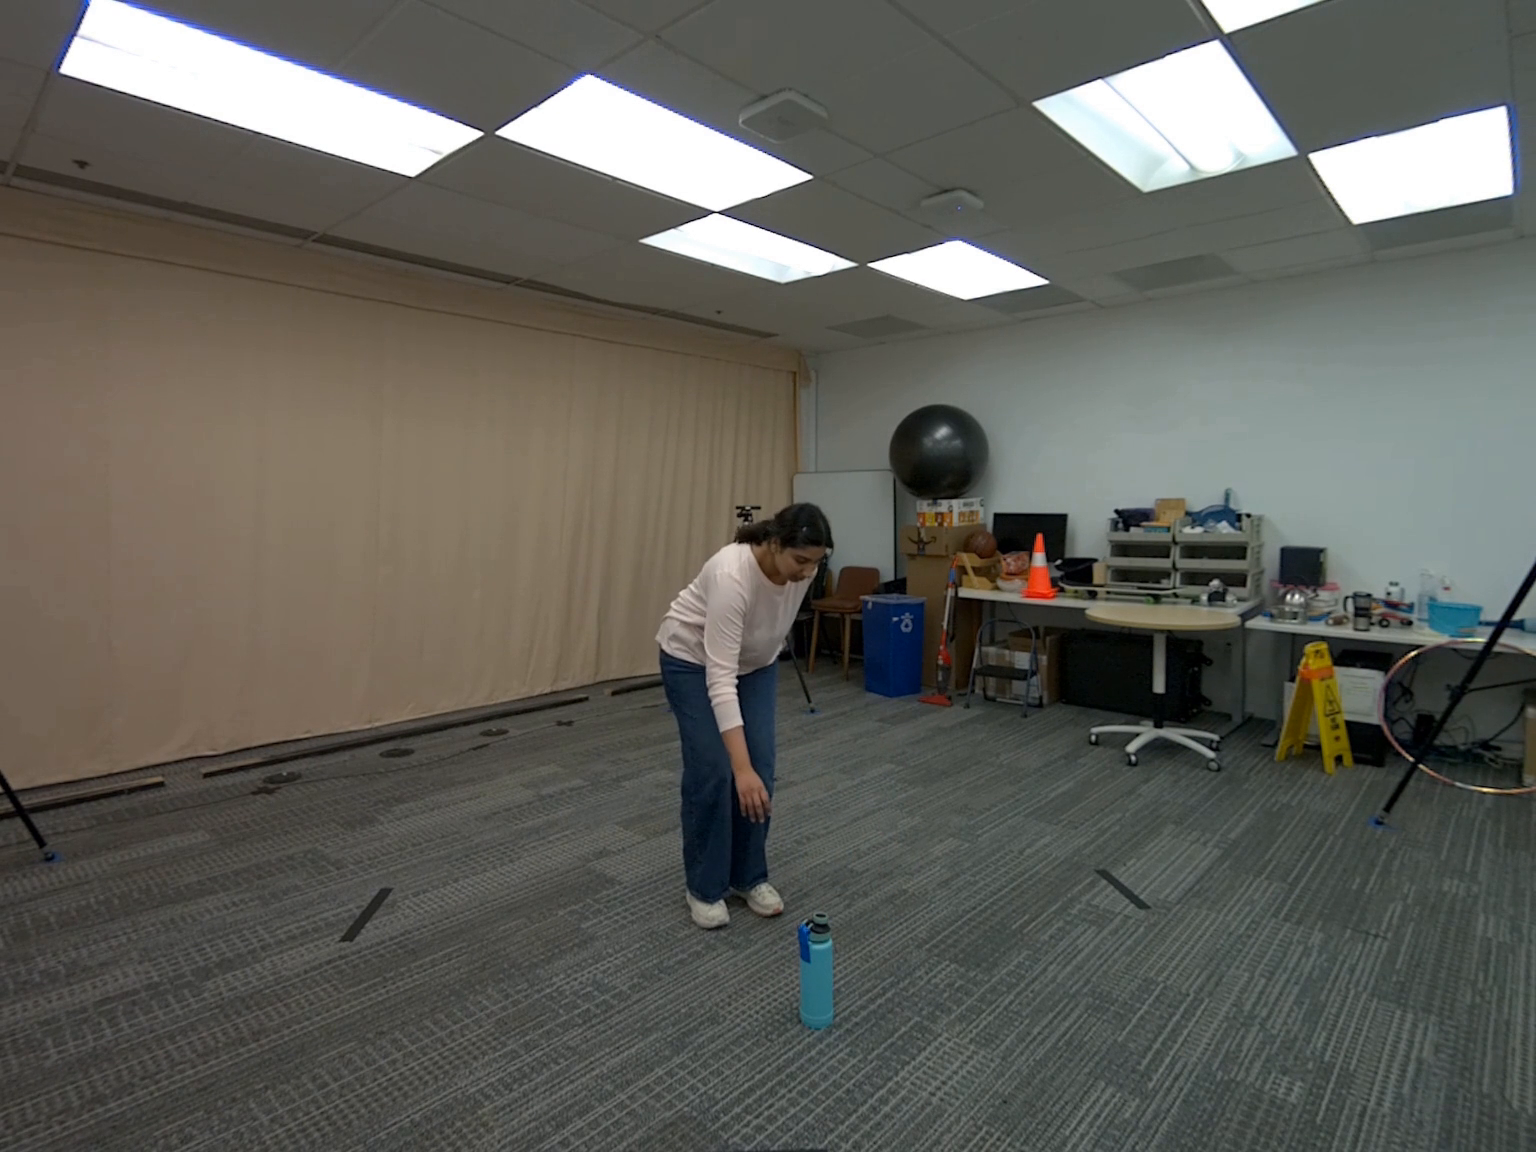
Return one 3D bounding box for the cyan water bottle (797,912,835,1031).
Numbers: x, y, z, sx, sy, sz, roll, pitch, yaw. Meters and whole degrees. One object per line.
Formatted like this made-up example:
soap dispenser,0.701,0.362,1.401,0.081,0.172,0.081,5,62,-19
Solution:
cyan water bottle,0.136,1.064,2.272,0.092,0.283,0.092,0,3,-2
